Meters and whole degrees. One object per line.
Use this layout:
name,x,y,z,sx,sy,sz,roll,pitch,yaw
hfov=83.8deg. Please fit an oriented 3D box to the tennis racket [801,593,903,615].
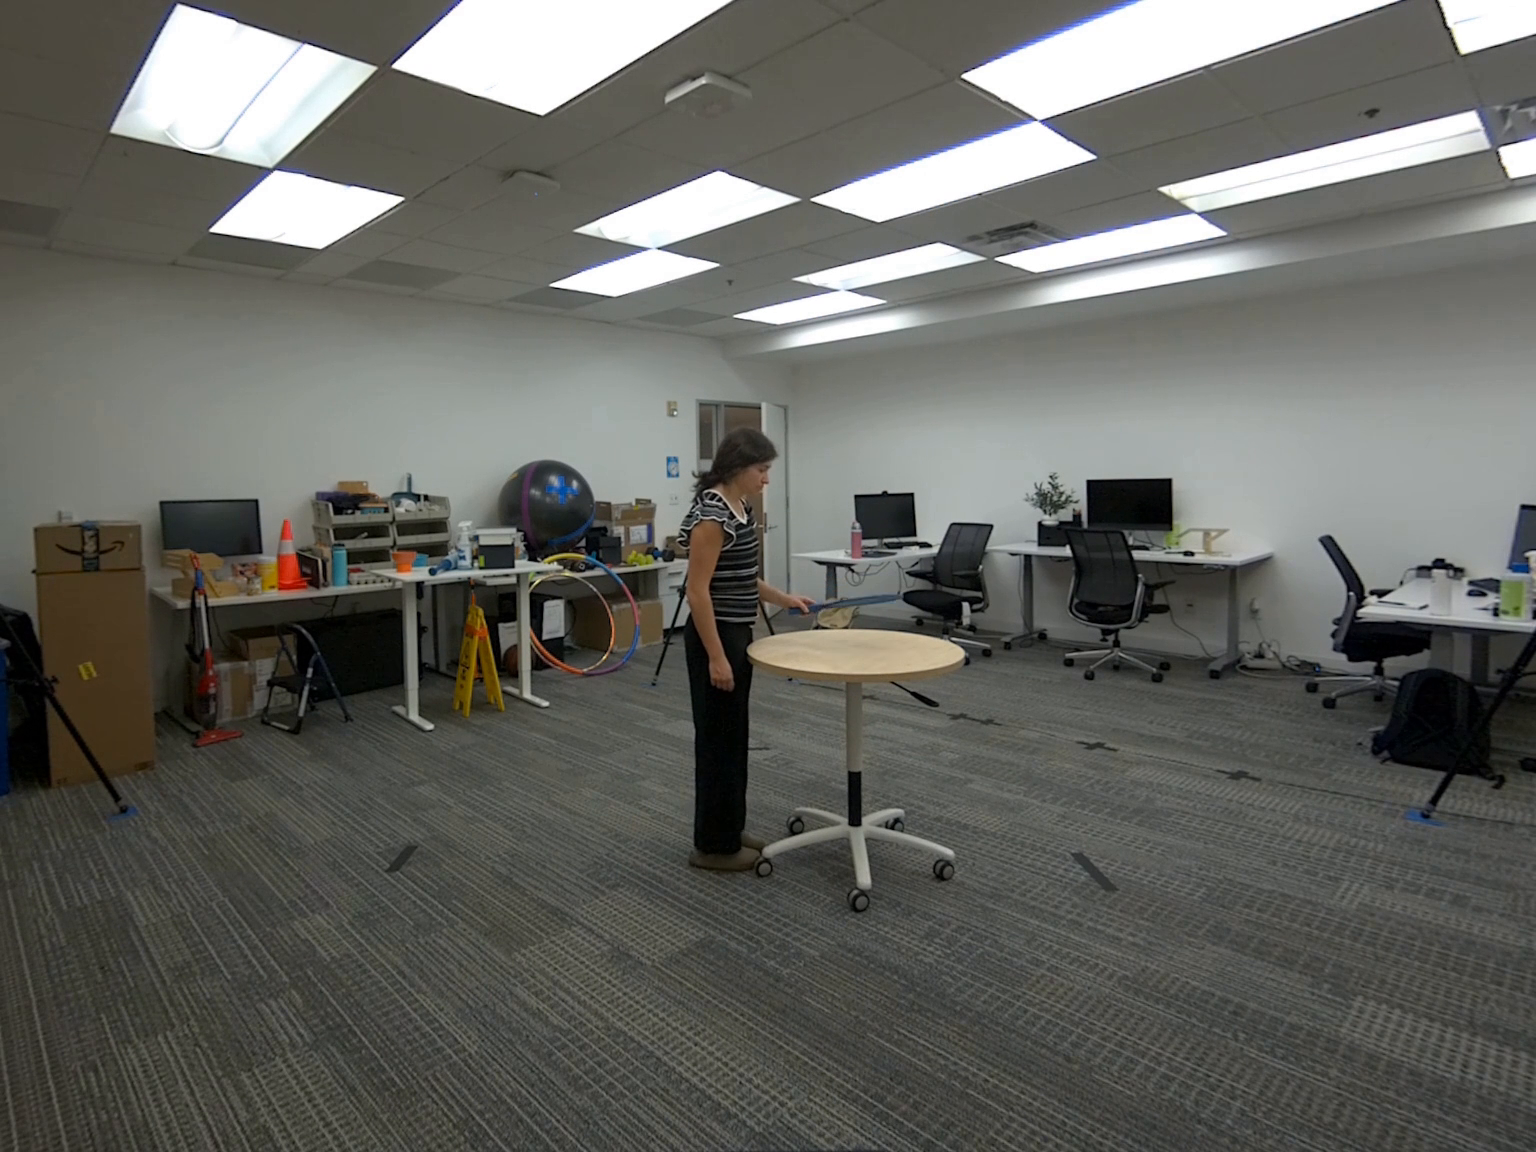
tennis racket,0.280,0.111,3.085,0.441,0.032,0.208,-8,-7,26
